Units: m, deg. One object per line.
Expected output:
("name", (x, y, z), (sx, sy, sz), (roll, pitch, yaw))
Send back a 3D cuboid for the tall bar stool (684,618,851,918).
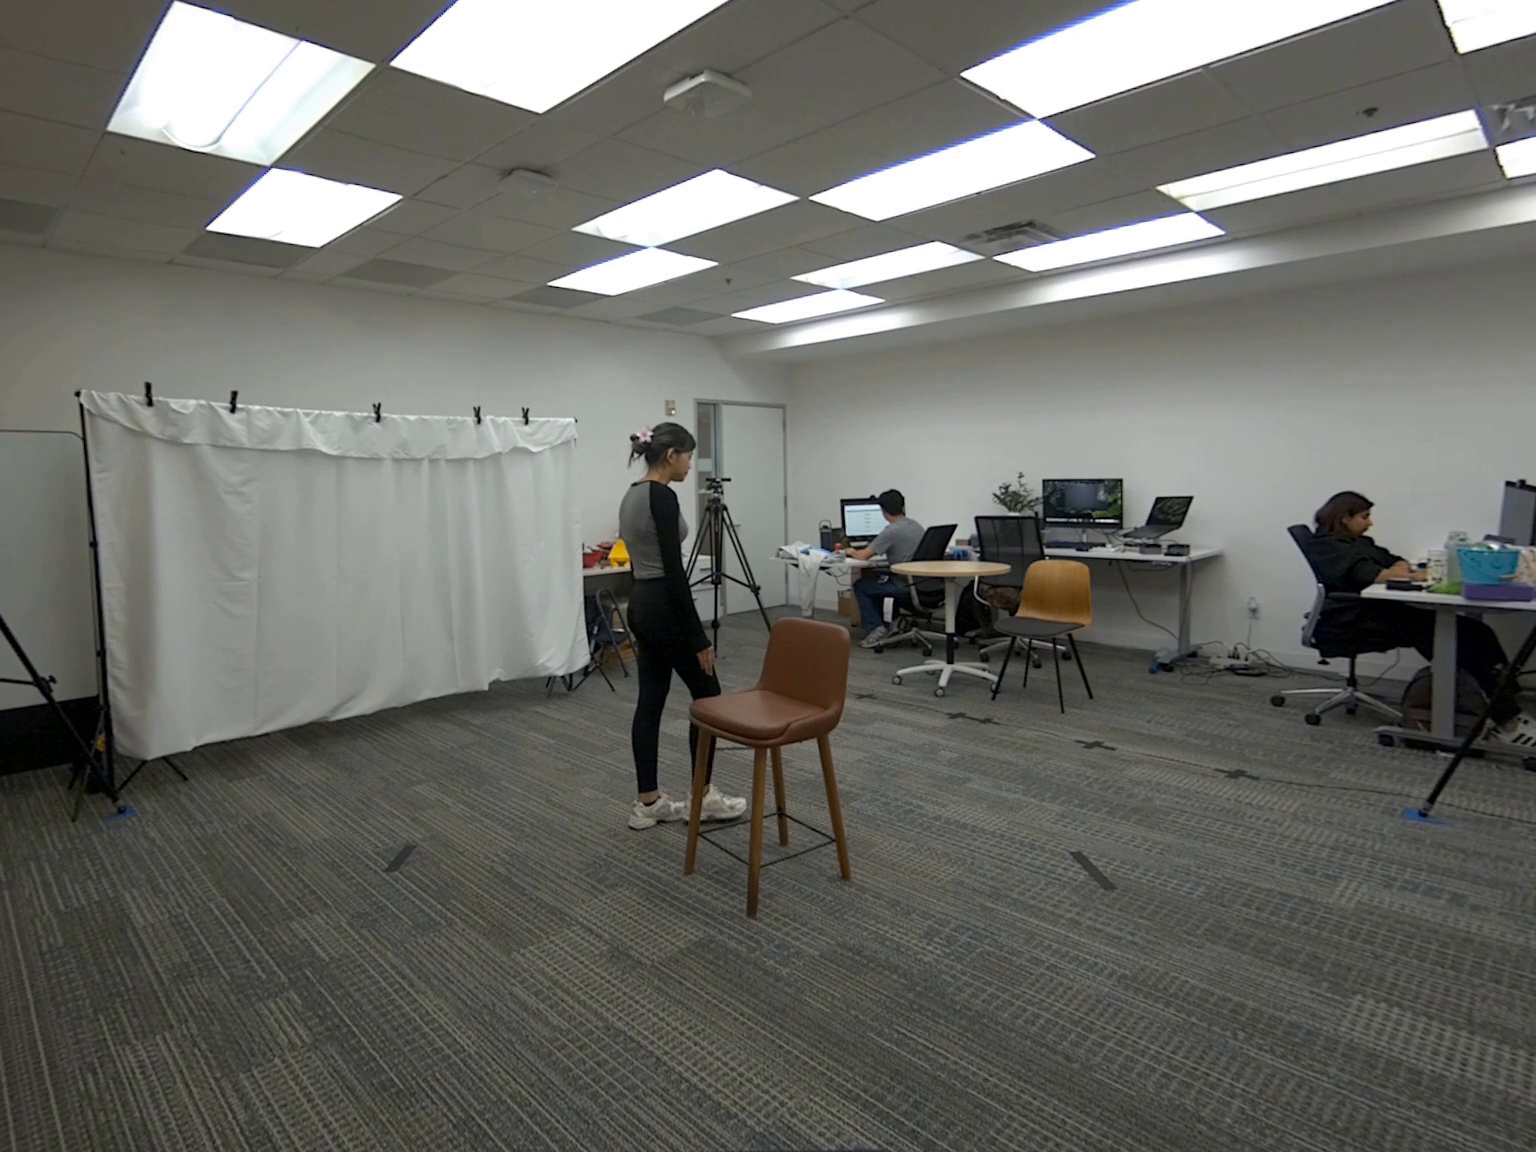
("tall bar stool", (0.003, 0.621, 2.972), (0.455, 0.888, 0.470), (-1, 4, -36))
